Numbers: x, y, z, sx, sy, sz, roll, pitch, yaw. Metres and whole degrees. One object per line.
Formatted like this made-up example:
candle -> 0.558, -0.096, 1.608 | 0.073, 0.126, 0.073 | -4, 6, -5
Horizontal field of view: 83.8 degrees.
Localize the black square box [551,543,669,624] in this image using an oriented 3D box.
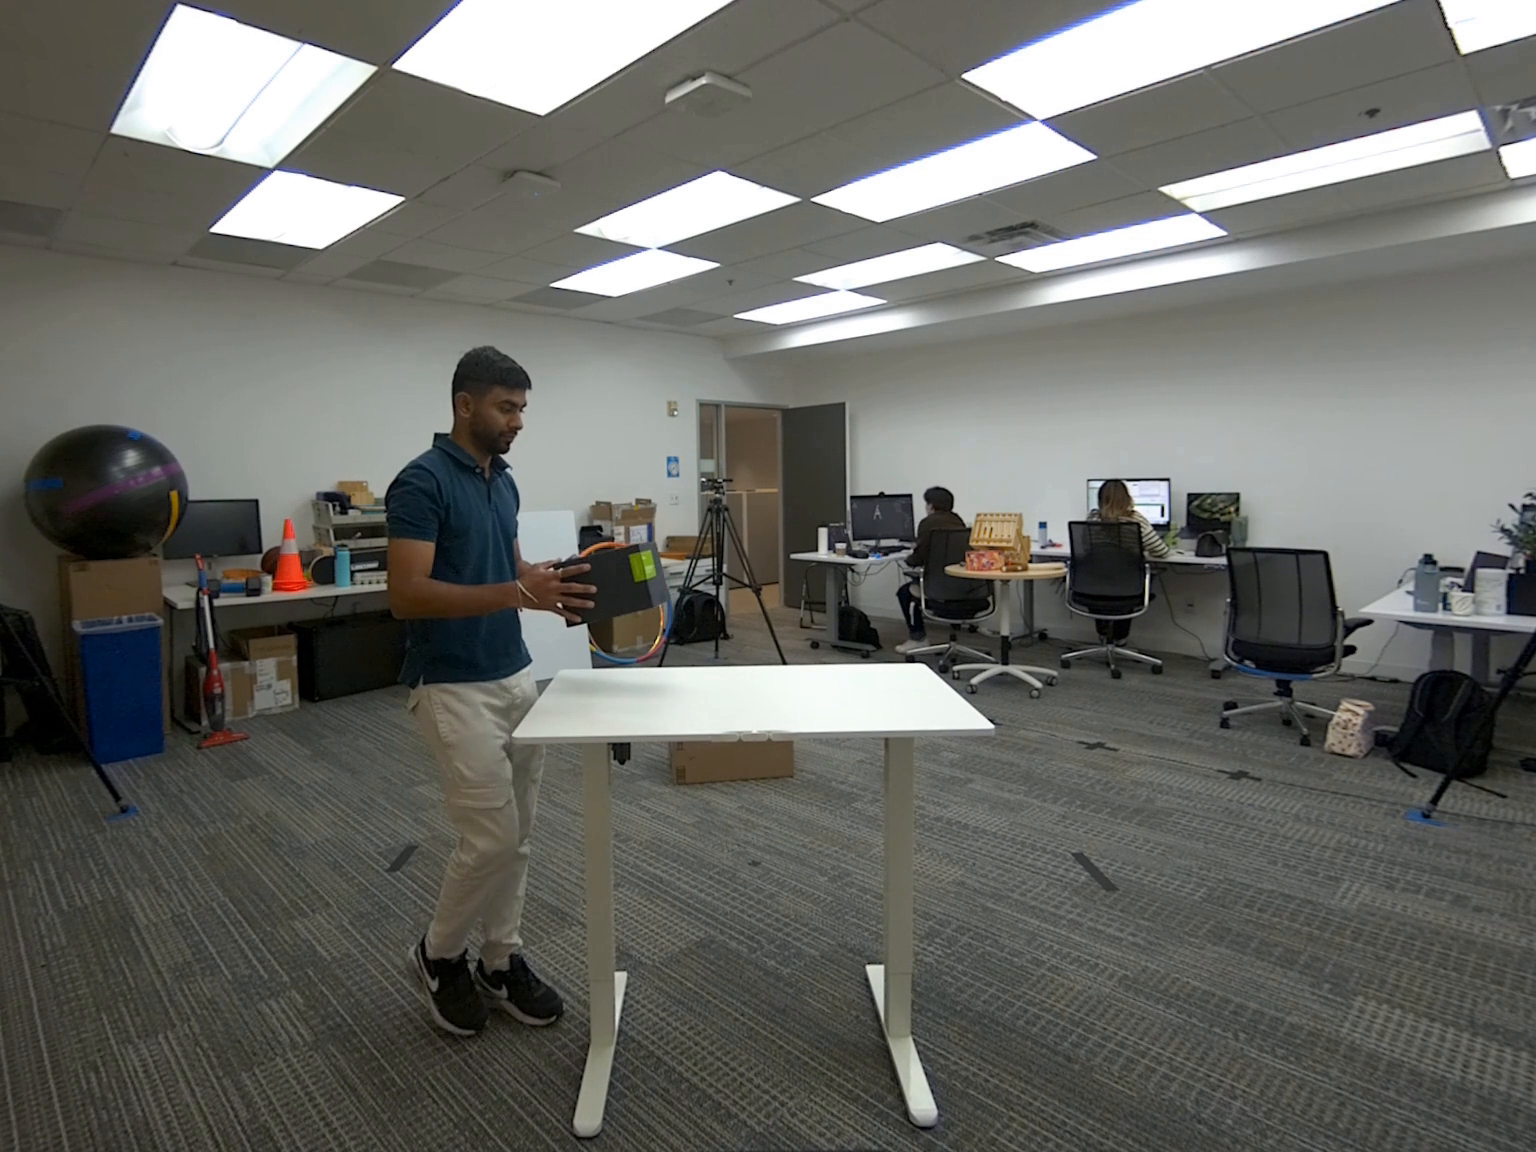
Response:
black square box -> -0.386, 0.017, 2.102 | 0.218, 0.156, 0.227 | -13, 2, 5
